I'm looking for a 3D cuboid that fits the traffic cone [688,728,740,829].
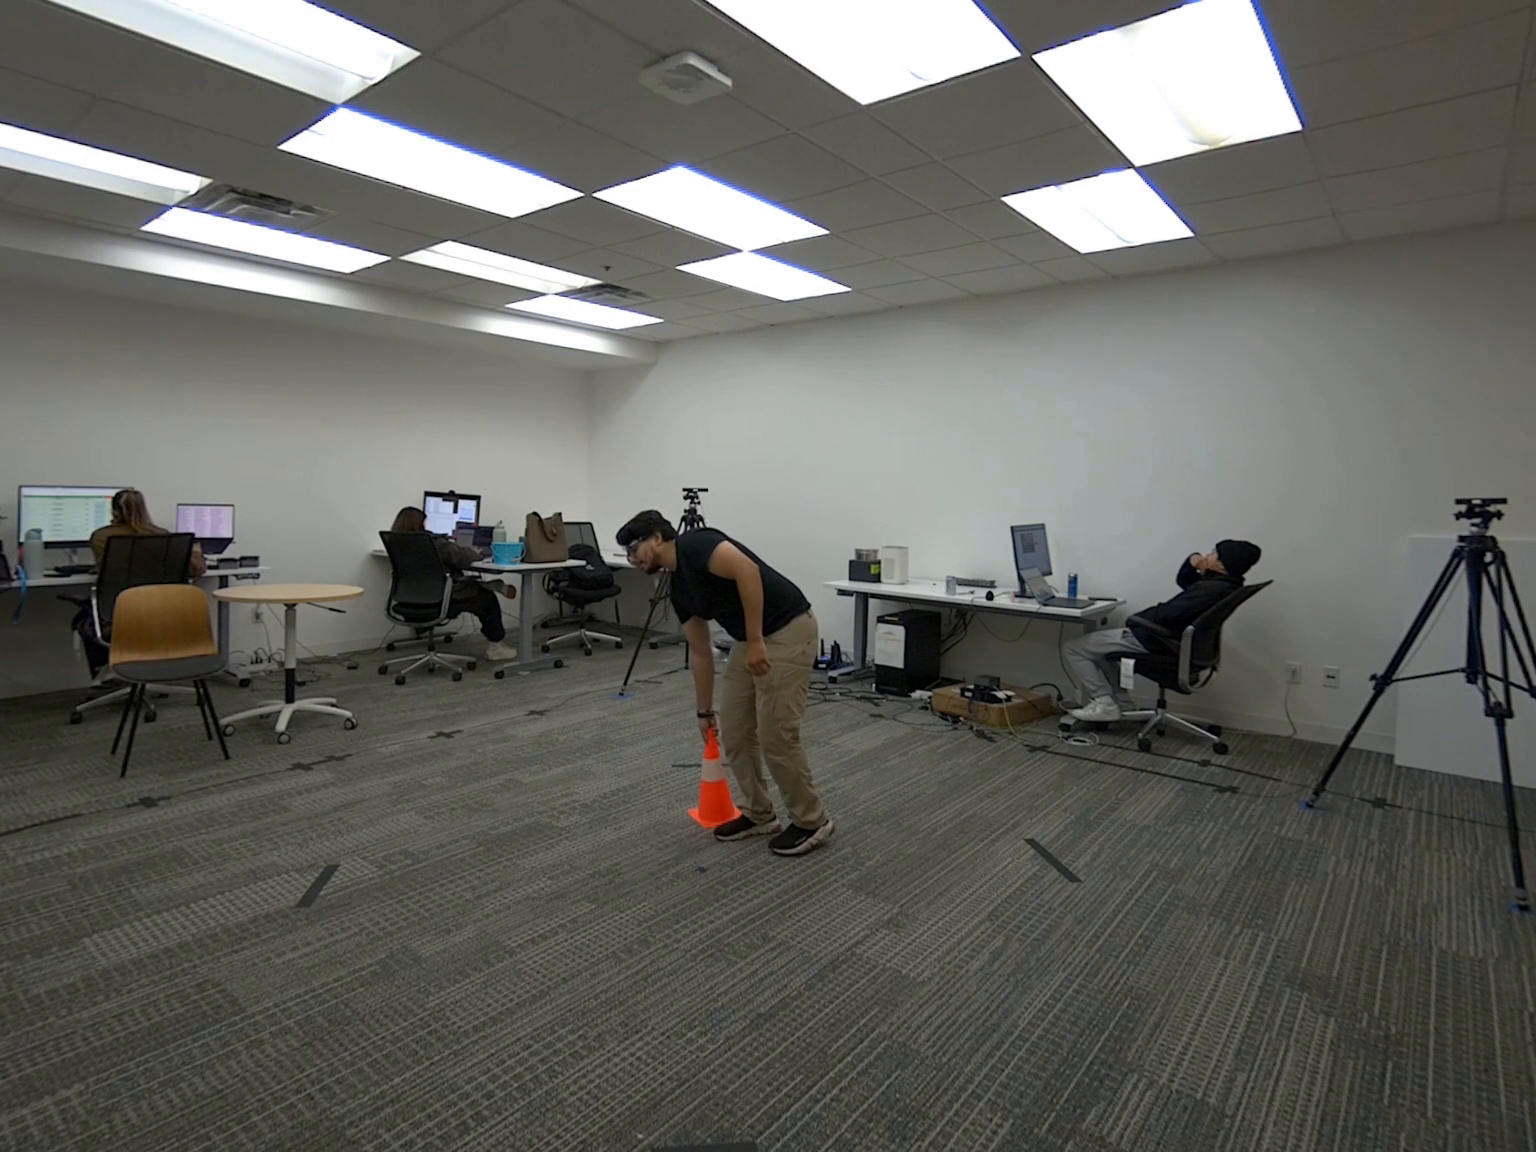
[{"bbox_3d":[-0.242,0.833,3.604,0.201,0.381,0.209,-6,8,-24],"label":"traffic cone"}]
